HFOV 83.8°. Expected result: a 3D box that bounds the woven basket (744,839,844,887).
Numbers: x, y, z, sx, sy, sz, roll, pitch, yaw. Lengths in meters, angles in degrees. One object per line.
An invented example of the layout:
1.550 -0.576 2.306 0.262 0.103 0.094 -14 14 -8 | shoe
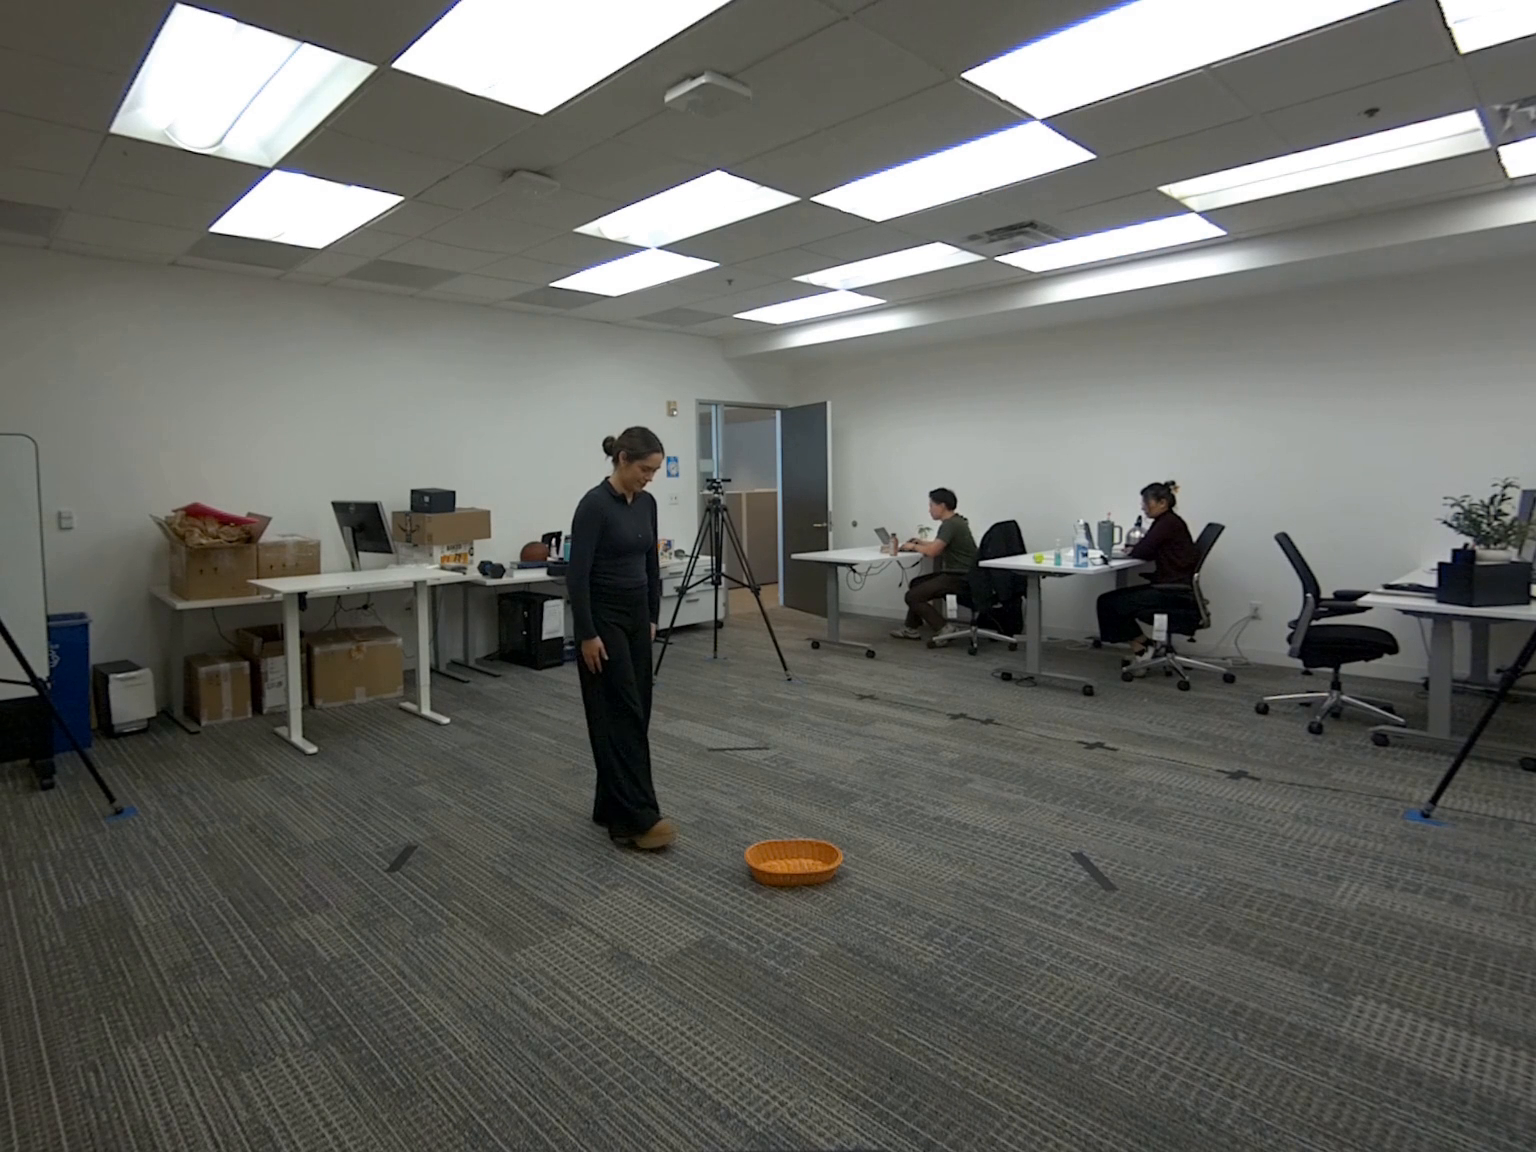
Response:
0.090 1.013 3.008 0.349 0.073 0.255 -1 8 -5 | woven basket
